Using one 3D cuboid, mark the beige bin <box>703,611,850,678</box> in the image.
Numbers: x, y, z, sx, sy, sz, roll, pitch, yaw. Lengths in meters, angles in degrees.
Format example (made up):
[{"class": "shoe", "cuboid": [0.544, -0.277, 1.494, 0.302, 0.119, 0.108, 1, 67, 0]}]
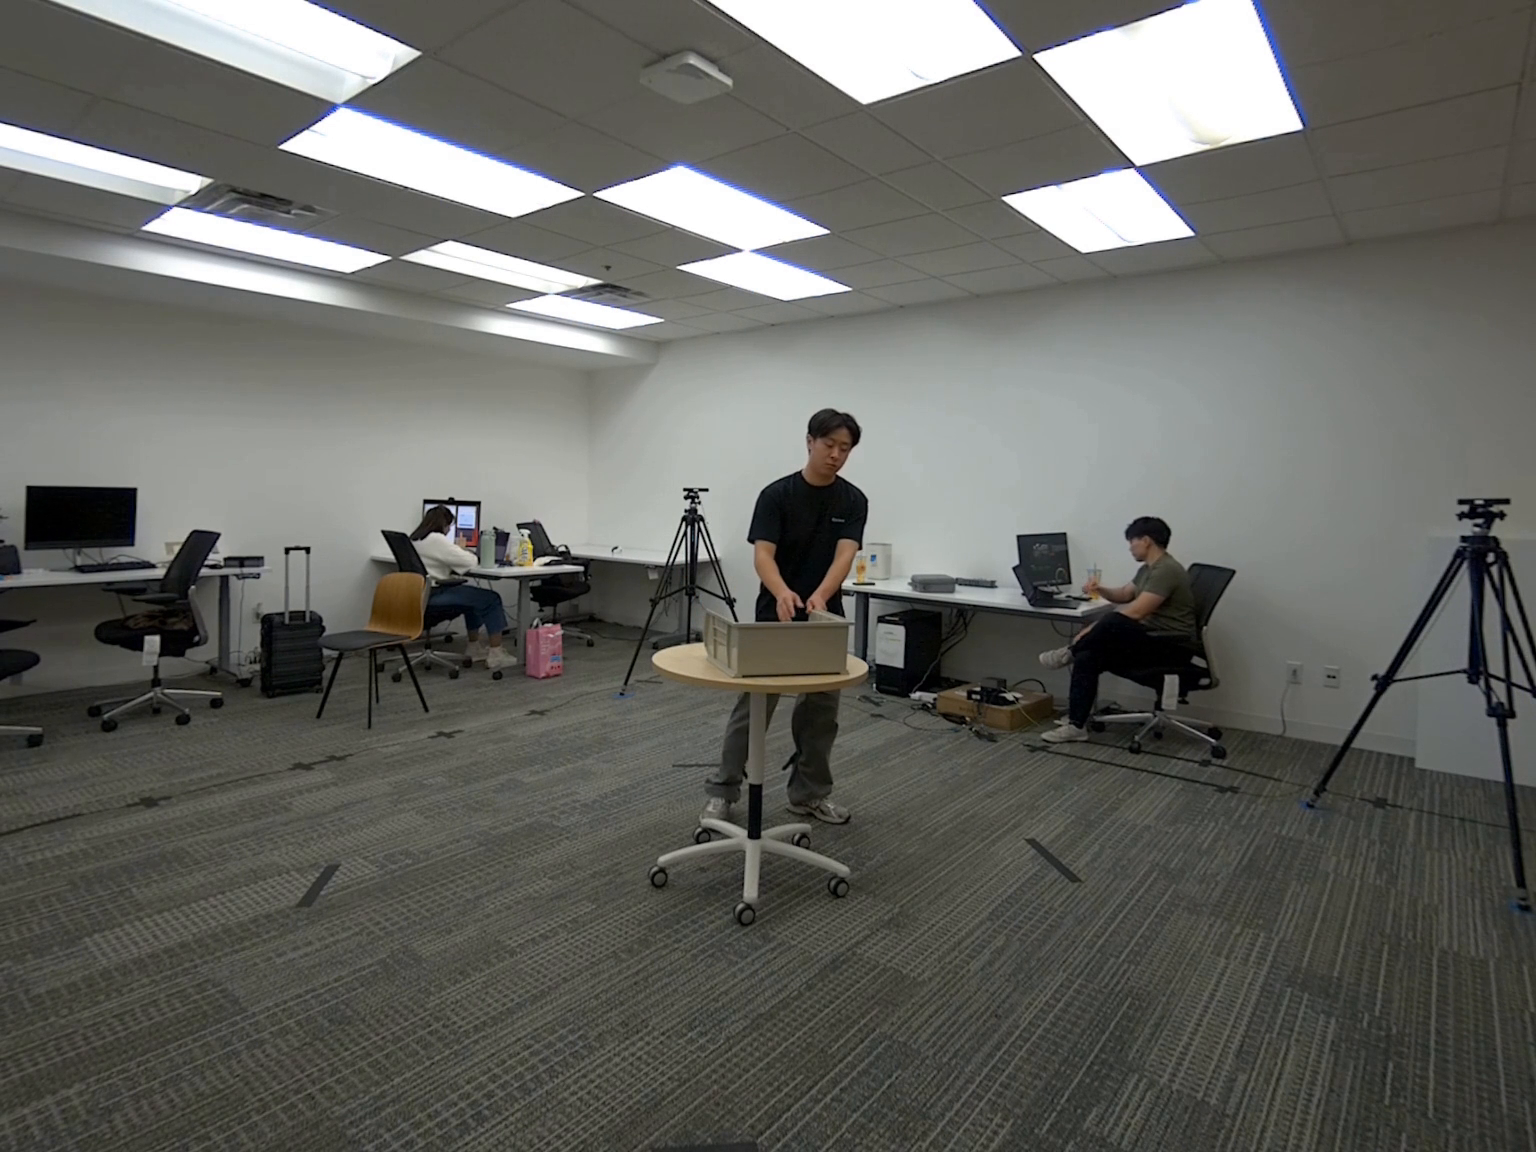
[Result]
[{"class": "beige bin", "cuboid": [0.013, 0.217, 2.949, 0.414, 0.188, 0.387, 0, 6, -20]}]
